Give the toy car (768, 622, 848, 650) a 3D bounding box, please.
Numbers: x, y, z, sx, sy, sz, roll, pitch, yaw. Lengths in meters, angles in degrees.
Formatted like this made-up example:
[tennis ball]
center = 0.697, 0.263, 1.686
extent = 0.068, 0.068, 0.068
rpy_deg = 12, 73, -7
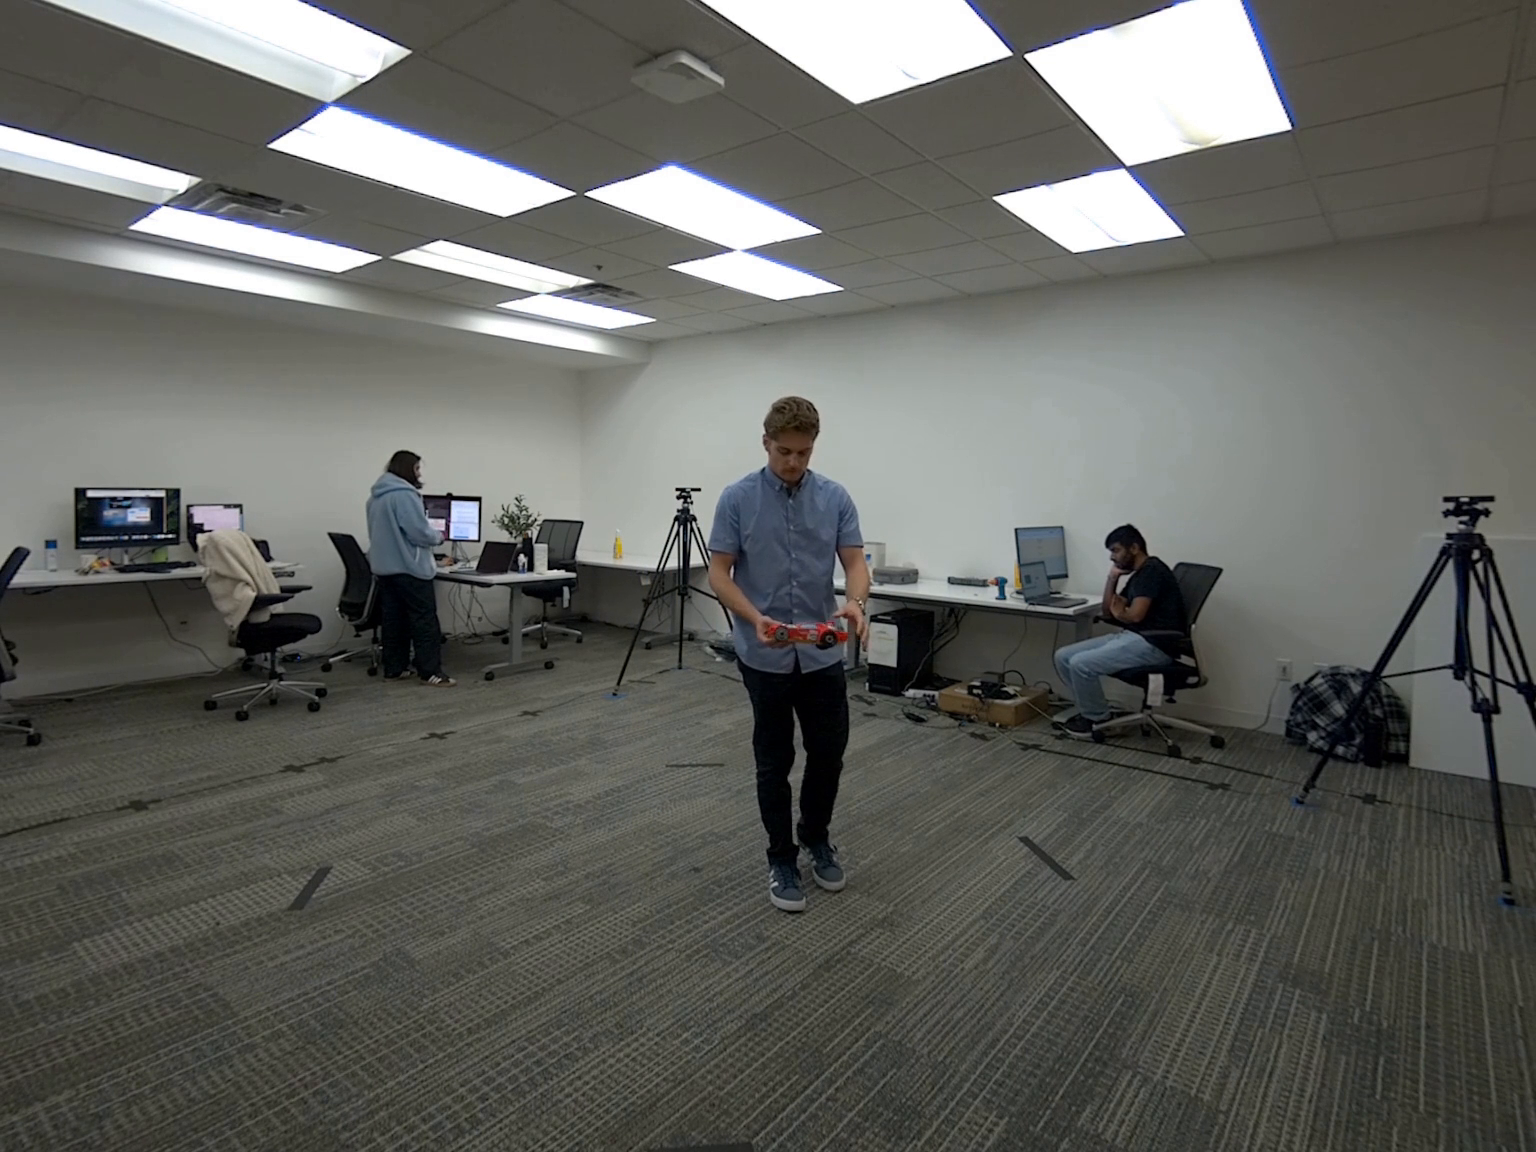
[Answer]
[toy car]
center = 0.118, 0.178, 2.619
extent = 0.254, 0.084, 0.129
rpy_deg = -3, -9, -4
